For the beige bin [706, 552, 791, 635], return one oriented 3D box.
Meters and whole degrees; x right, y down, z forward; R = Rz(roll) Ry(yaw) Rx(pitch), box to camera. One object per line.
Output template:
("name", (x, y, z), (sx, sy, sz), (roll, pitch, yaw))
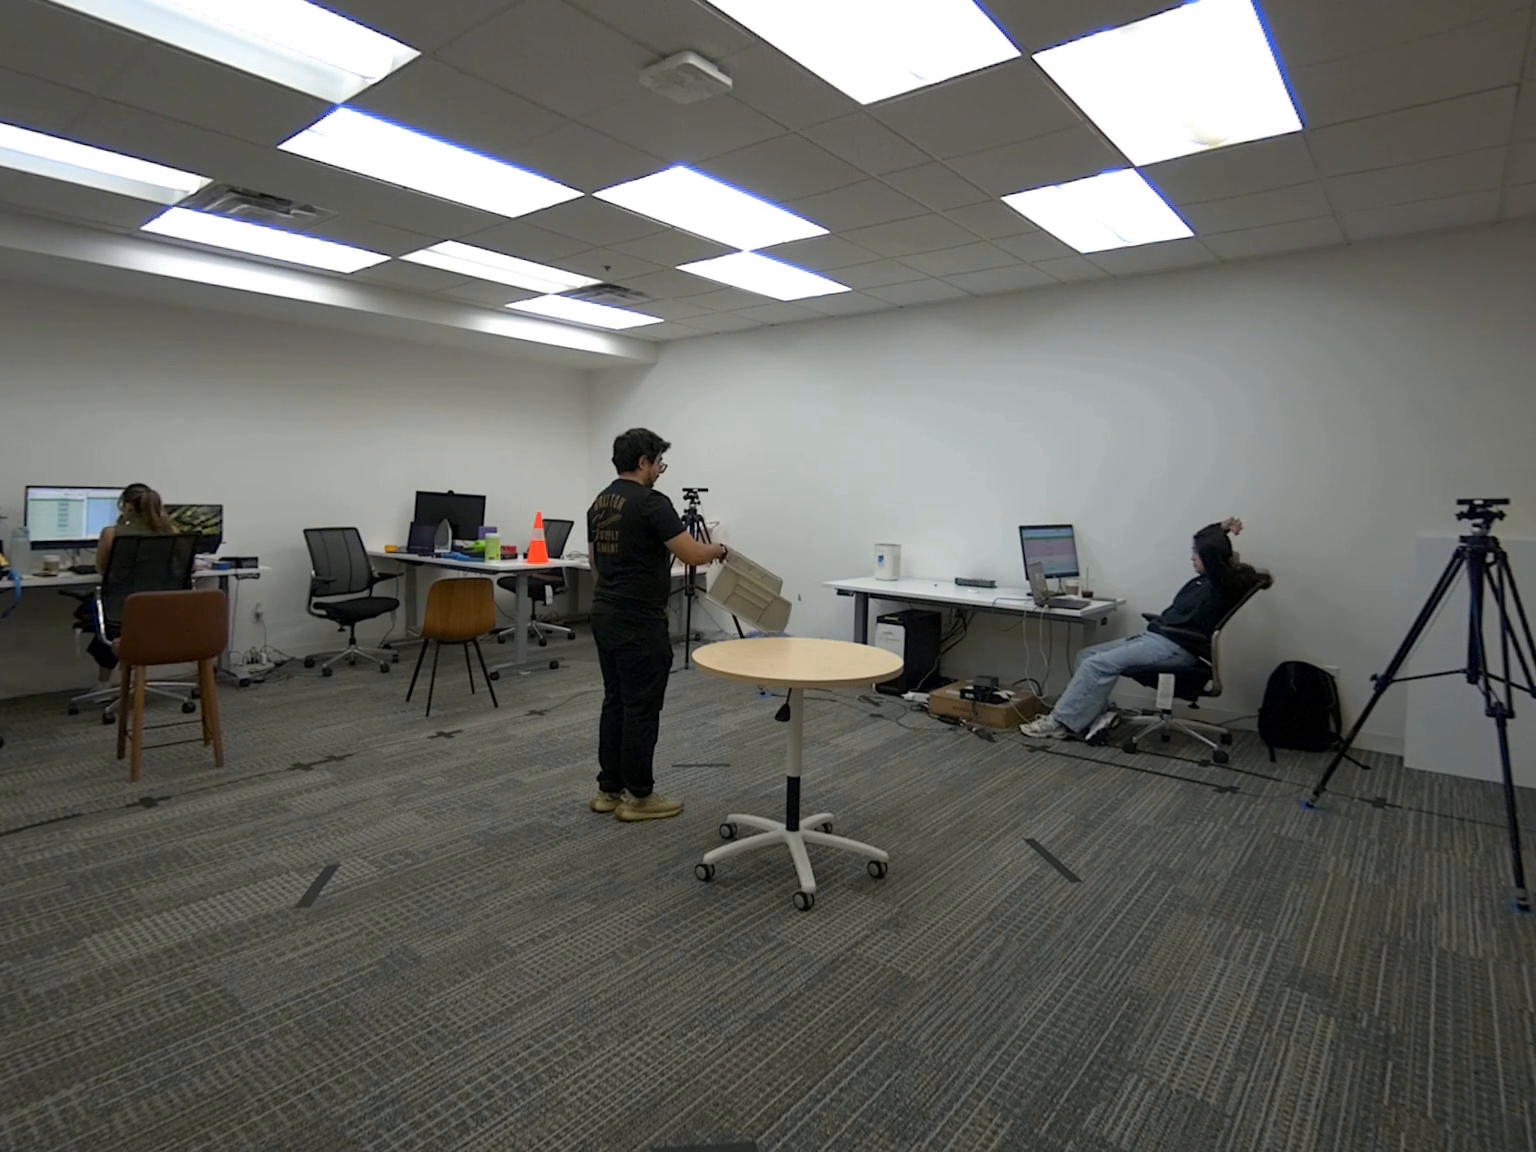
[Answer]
("beige bin", (-0.101, 0.063, 3.856), (0.373, 0.188, 0.428), (30, 10, -9))
